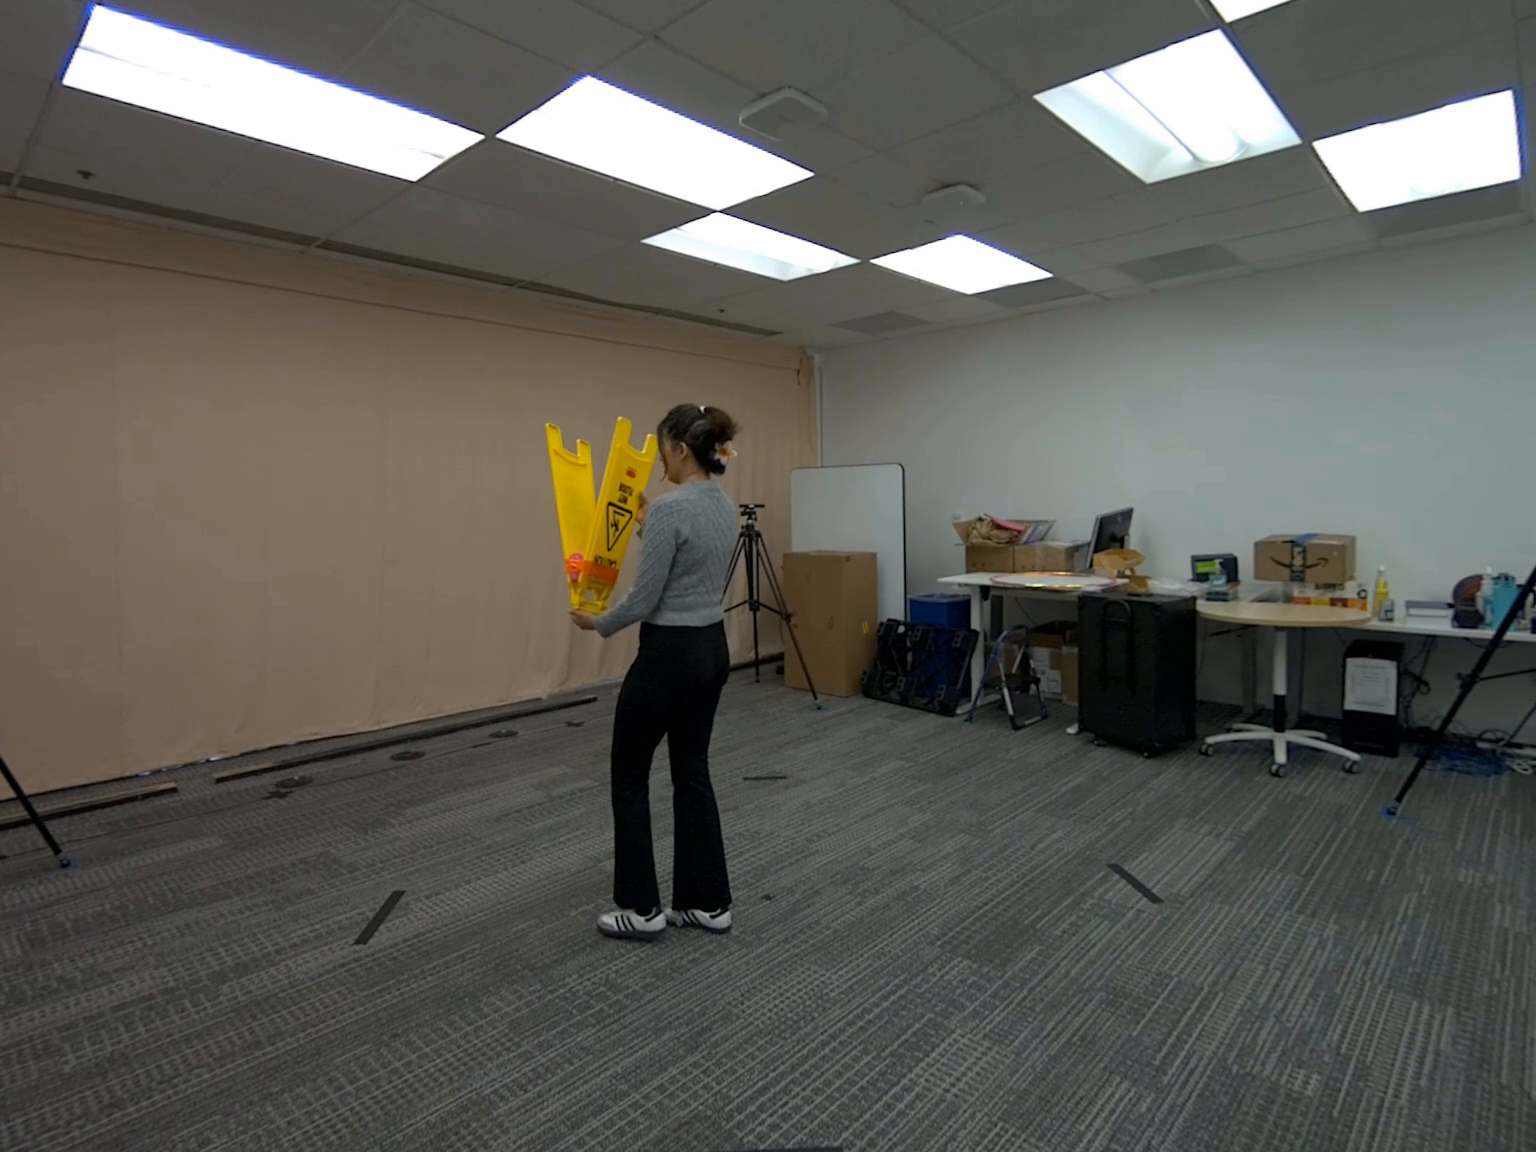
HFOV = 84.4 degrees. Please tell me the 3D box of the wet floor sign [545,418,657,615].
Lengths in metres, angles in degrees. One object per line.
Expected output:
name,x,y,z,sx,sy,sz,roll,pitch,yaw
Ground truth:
wet floor sign,-0.599,-0.191,2.928,0.296,0.649,0.274,0,-10,22
